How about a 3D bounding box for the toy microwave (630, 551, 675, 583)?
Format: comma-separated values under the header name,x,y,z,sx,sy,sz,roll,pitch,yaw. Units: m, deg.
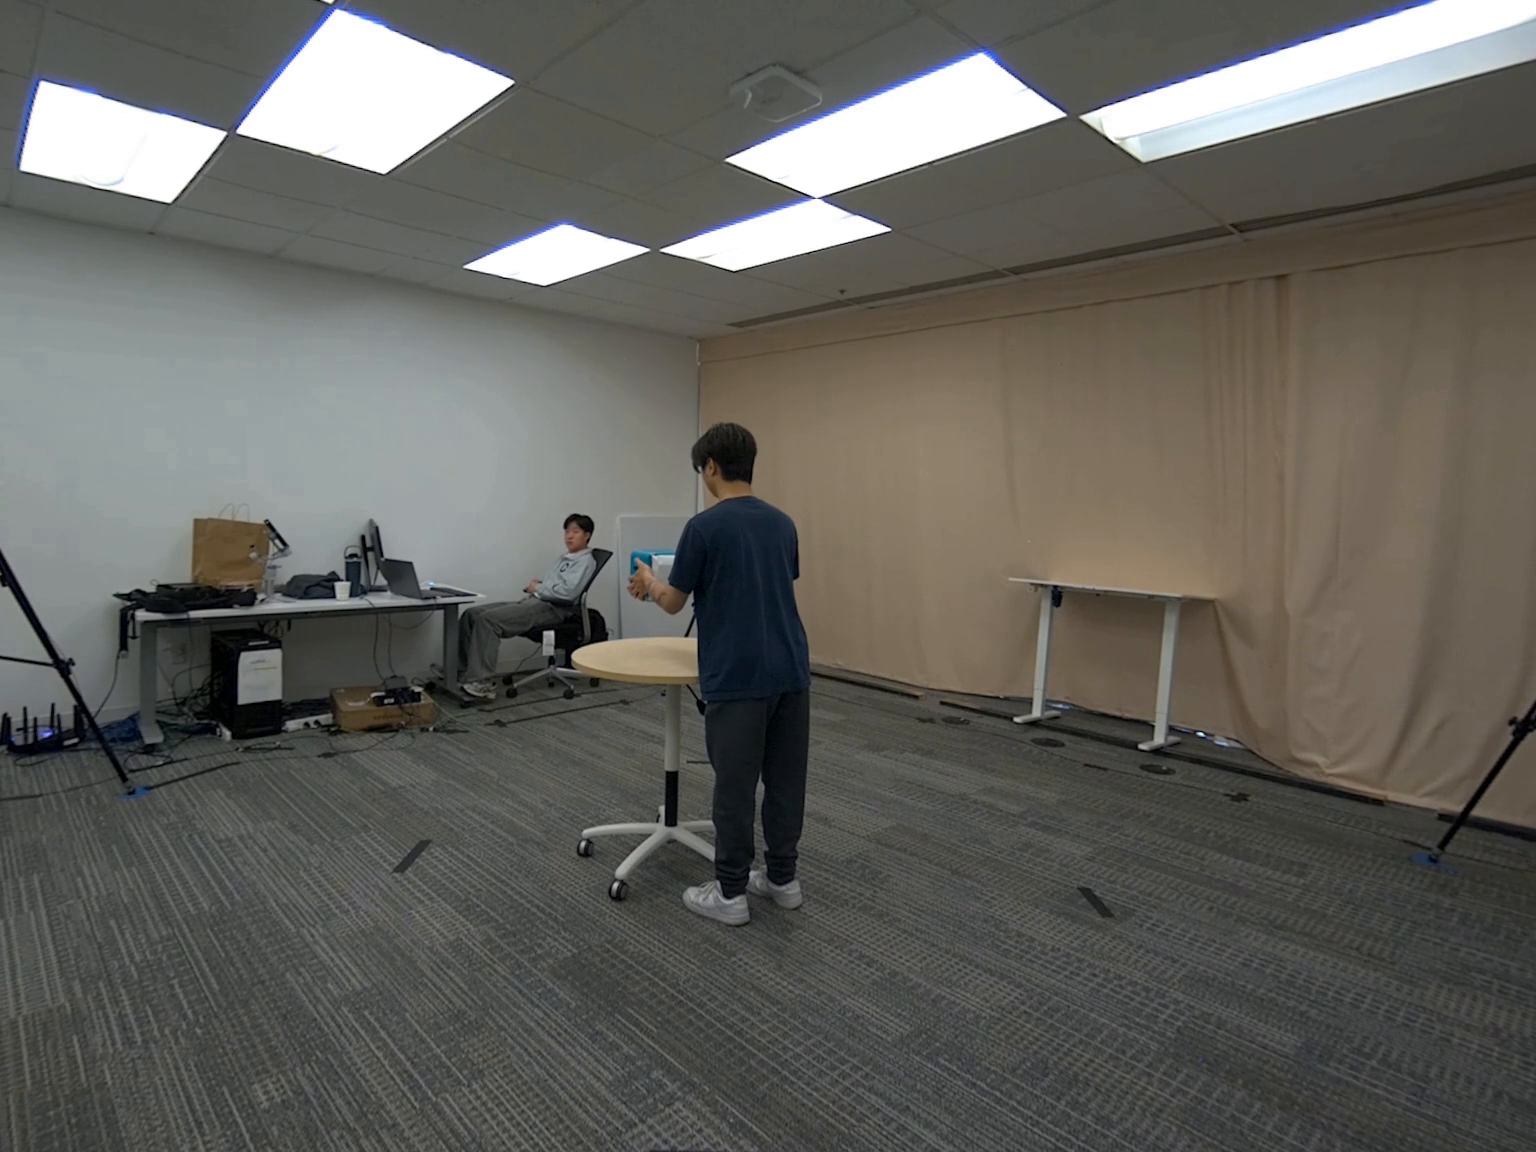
name,x,y,z,sx,sy,sz,roll,pitch,yaw
toy microwave,-0.377,-0.001,3.175,0.280,0.183,0.156,-2,6,-39
